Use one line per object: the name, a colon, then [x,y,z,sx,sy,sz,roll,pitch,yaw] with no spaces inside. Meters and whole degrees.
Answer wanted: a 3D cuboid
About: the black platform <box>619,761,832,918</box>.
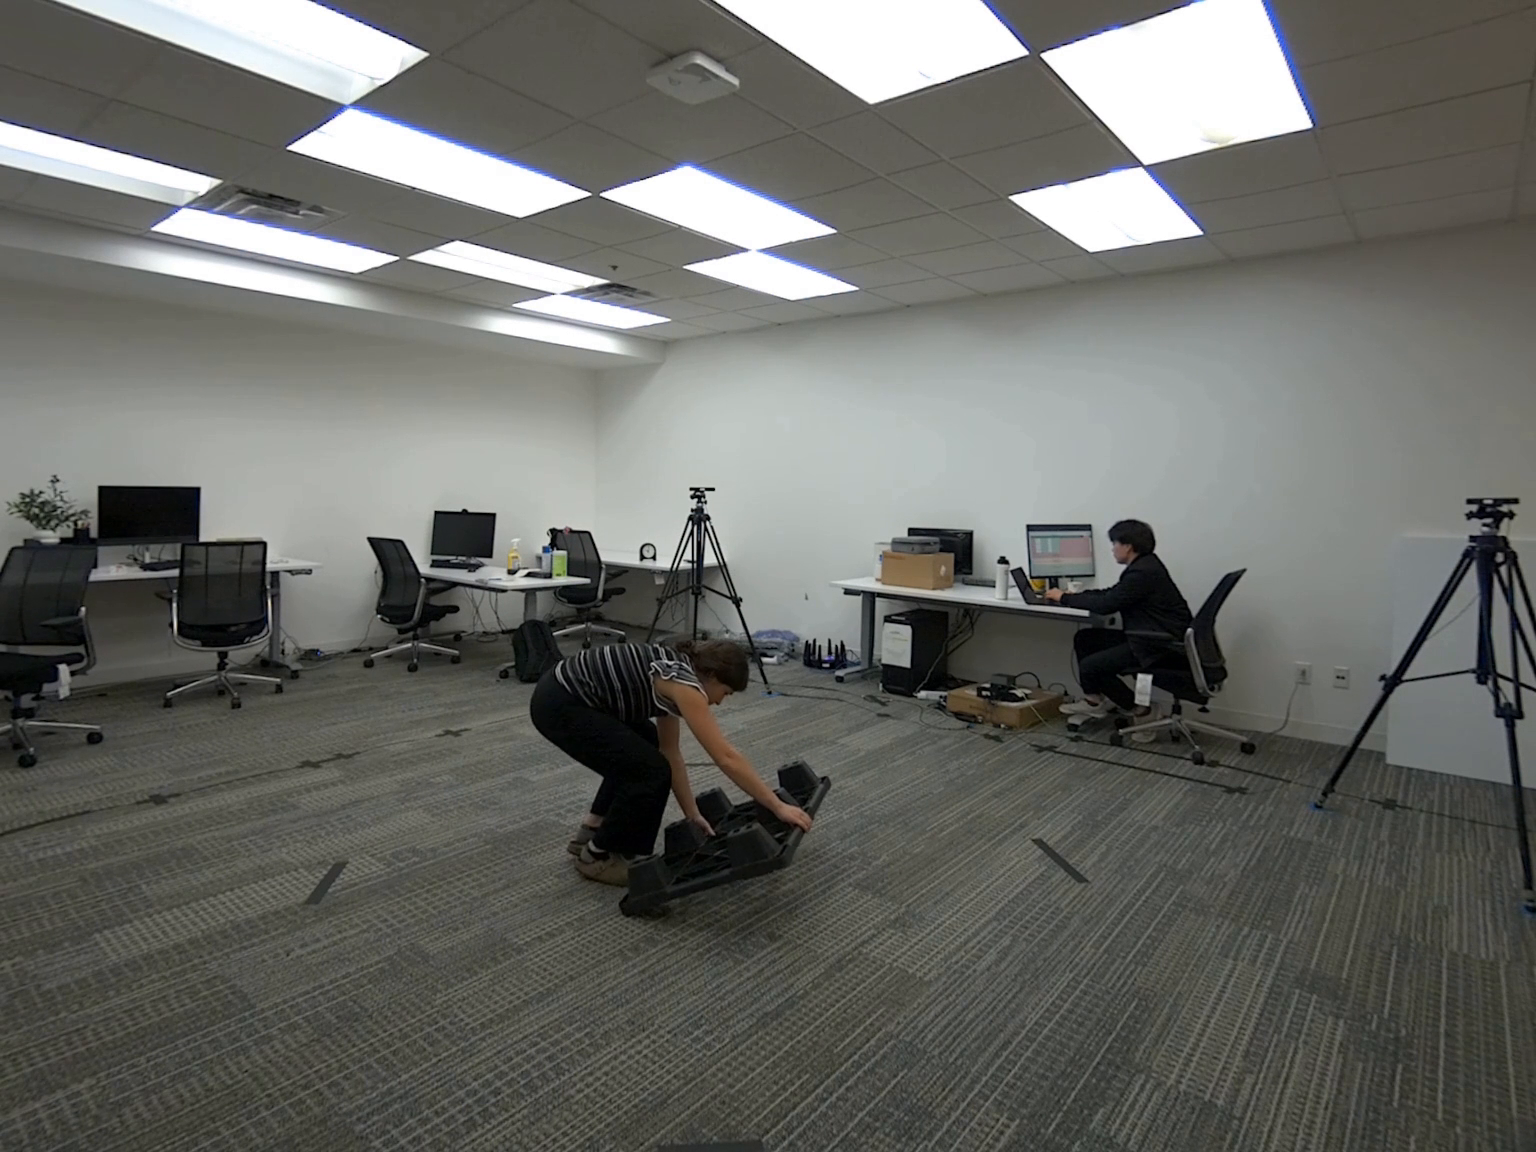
black platform: [-0.145,0.898,3.041,0.611,0.144,0.794,-21,-1,16]
